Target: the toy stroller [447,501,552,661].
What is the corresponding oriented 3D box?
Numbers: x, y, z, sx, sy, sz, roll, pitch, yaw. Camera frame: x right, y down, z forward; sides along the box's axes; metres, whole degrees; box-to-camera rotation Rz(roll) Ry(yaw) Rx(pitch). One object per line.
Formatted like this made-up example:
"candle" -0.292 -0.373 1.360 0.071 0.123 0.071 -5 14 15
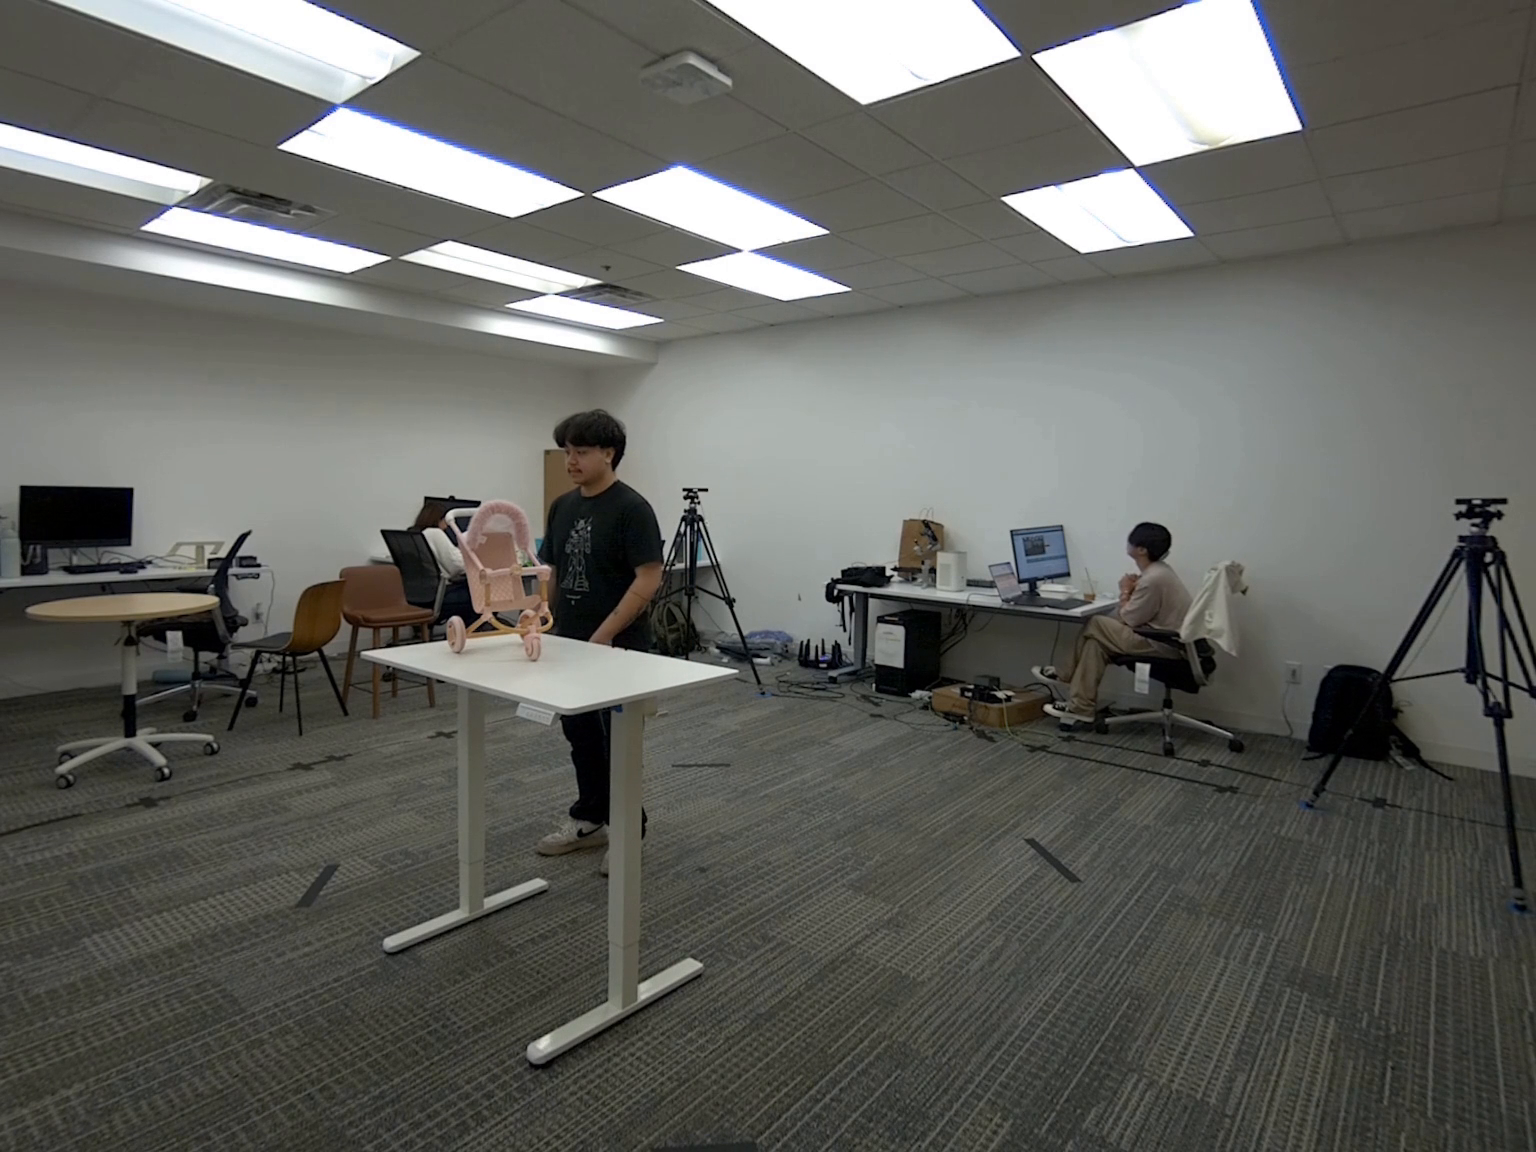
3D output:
"toy stroller" -0.825 0.005 2.596 0.273 0.541 0.348 -2 -11 -38
